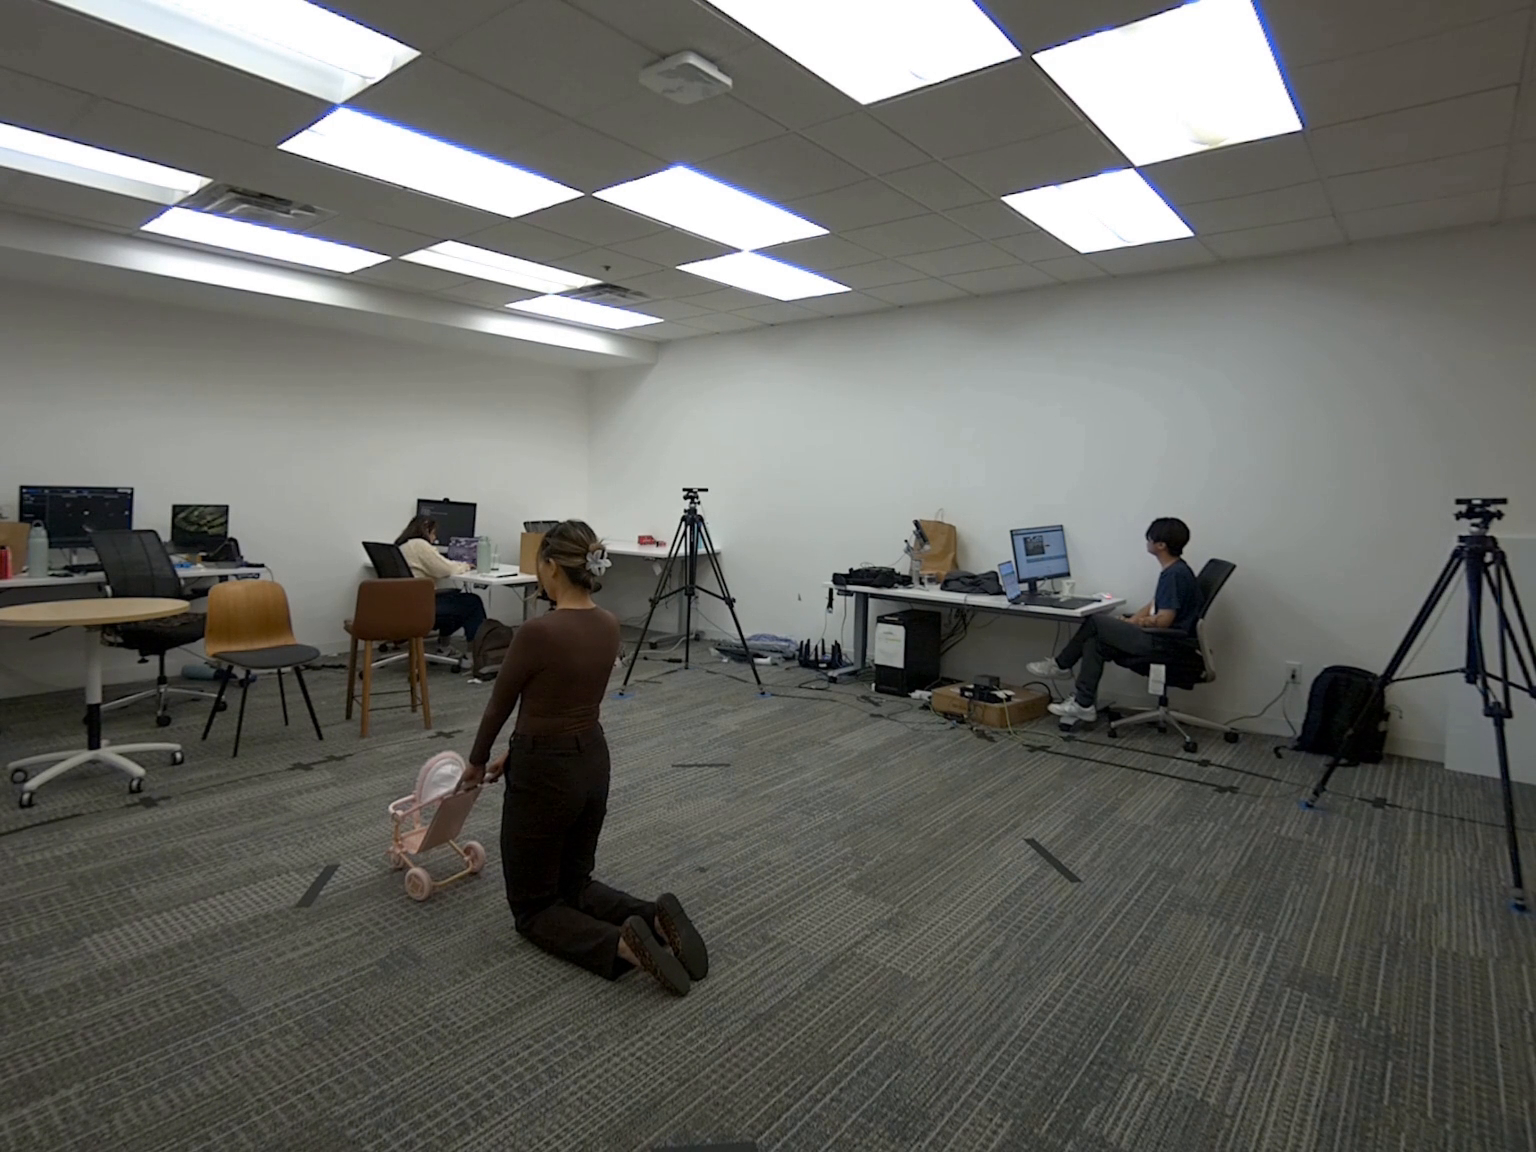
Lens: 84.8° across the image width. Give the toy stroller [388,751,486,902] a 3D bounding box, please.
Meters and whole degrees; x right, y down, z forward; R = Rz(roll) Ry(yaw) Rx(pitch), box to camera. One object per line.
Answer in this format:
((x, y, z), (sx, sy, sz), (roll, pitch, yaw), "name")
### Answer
((-1.172, 0.846, 2.970), (0.354, 0.531, 0.273), (24, 15, 31), "toy stroller")
